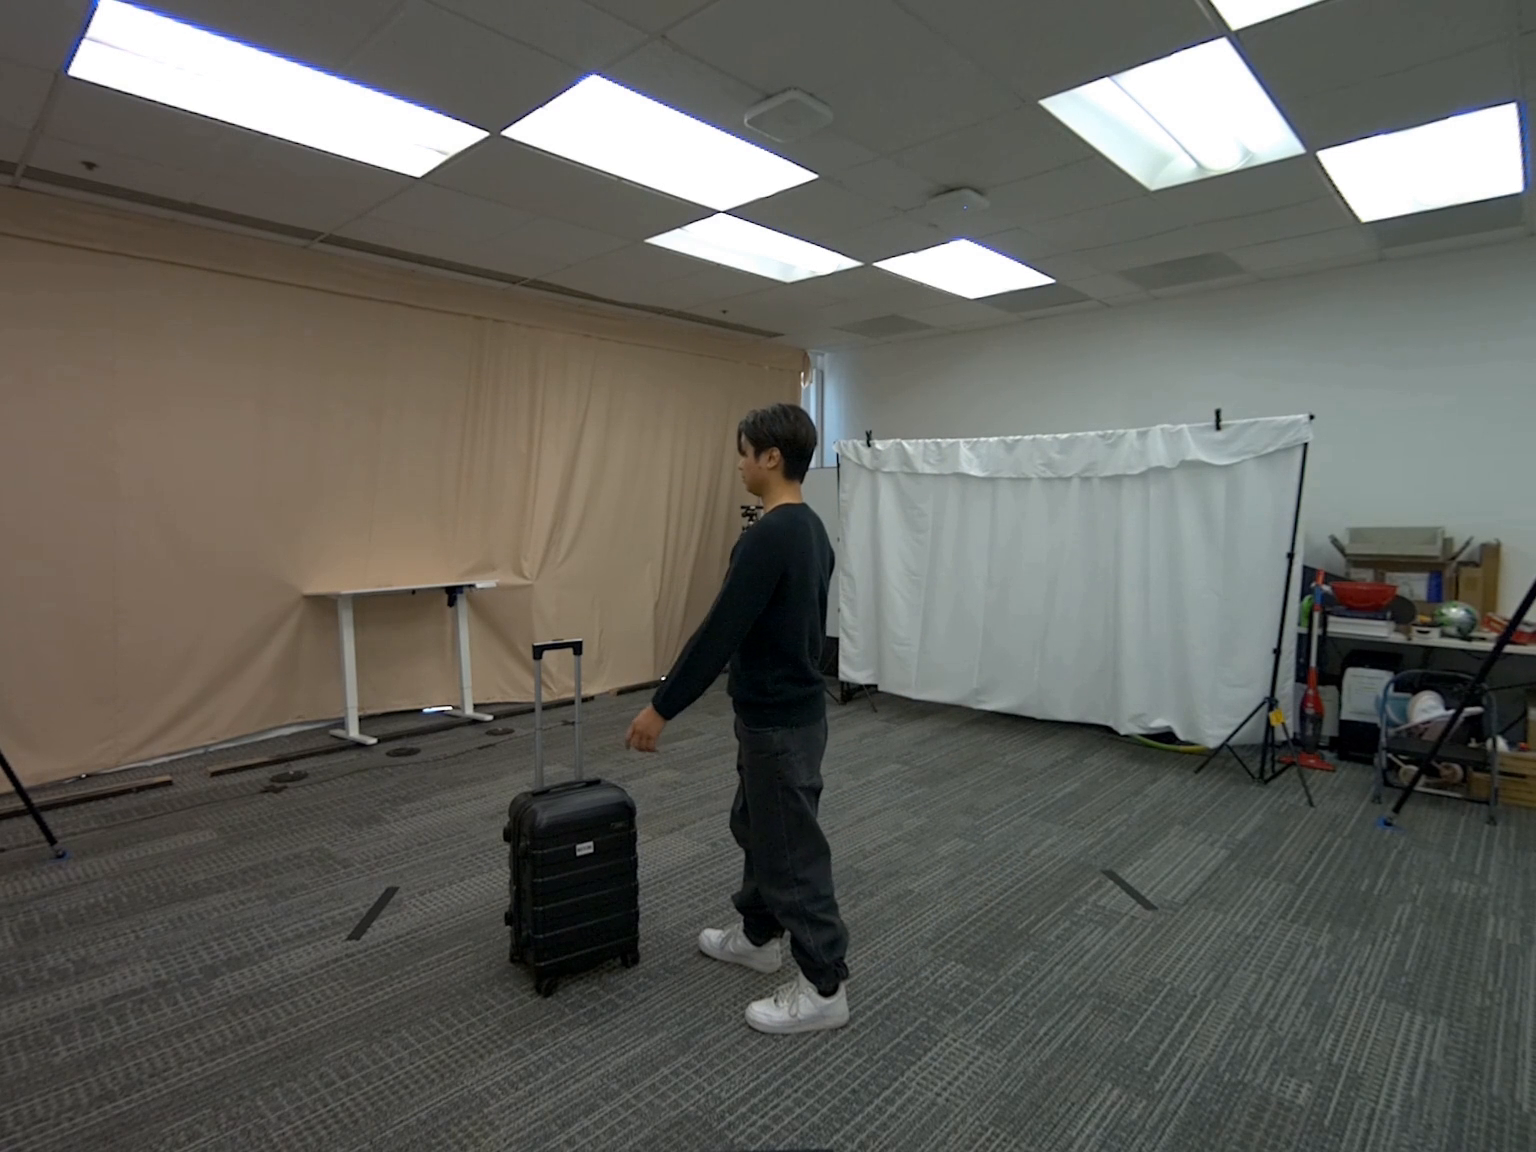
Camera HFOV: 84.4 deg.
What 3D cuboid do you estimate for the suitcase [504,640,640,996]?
[{"bbox_3d":[-0.584,0.709,2.529,0.373,0.975,0.265,-1,6,-31],"label":"suitcase"}]
